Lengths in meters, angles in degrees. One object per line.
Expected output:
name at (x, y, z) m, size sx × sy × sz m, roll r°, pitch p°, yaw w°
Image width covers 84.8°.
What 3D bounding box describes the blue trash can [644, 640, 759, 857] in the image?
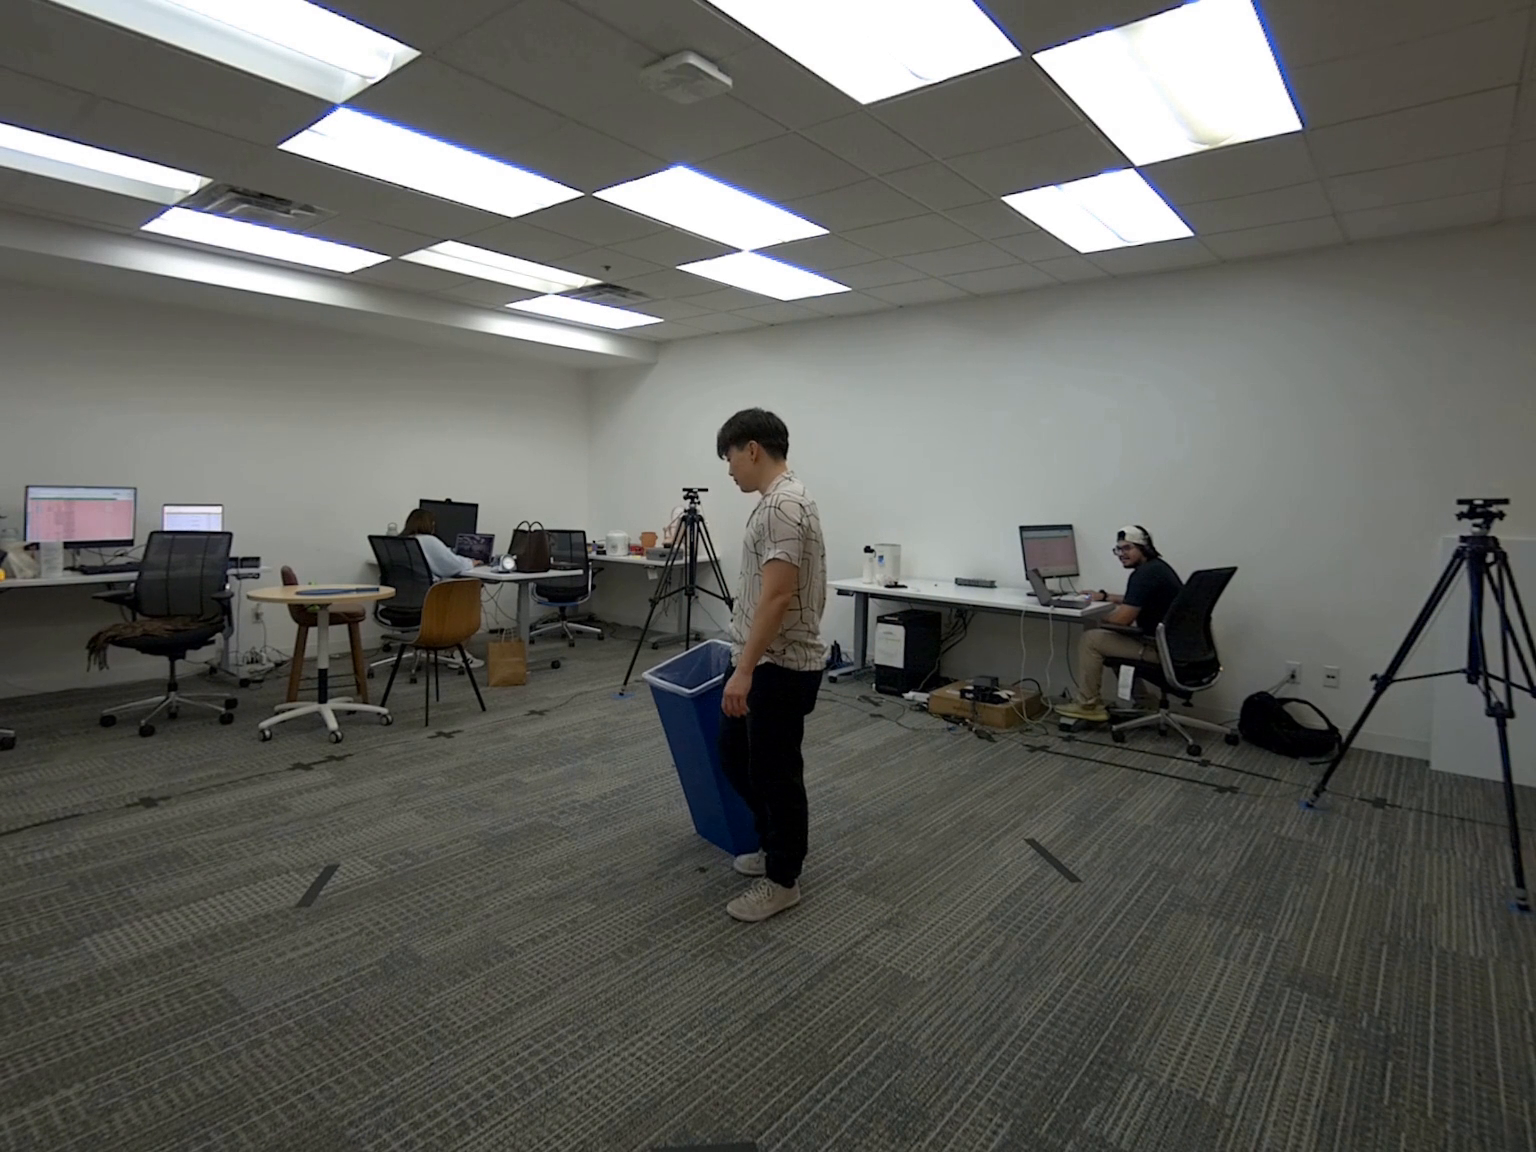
blue trash can at (-0.187, 0.668, 3.325) m, size 0.368 × 0.703 × 0.390 m, roll -22°, pitch 15°, yaw -33°
